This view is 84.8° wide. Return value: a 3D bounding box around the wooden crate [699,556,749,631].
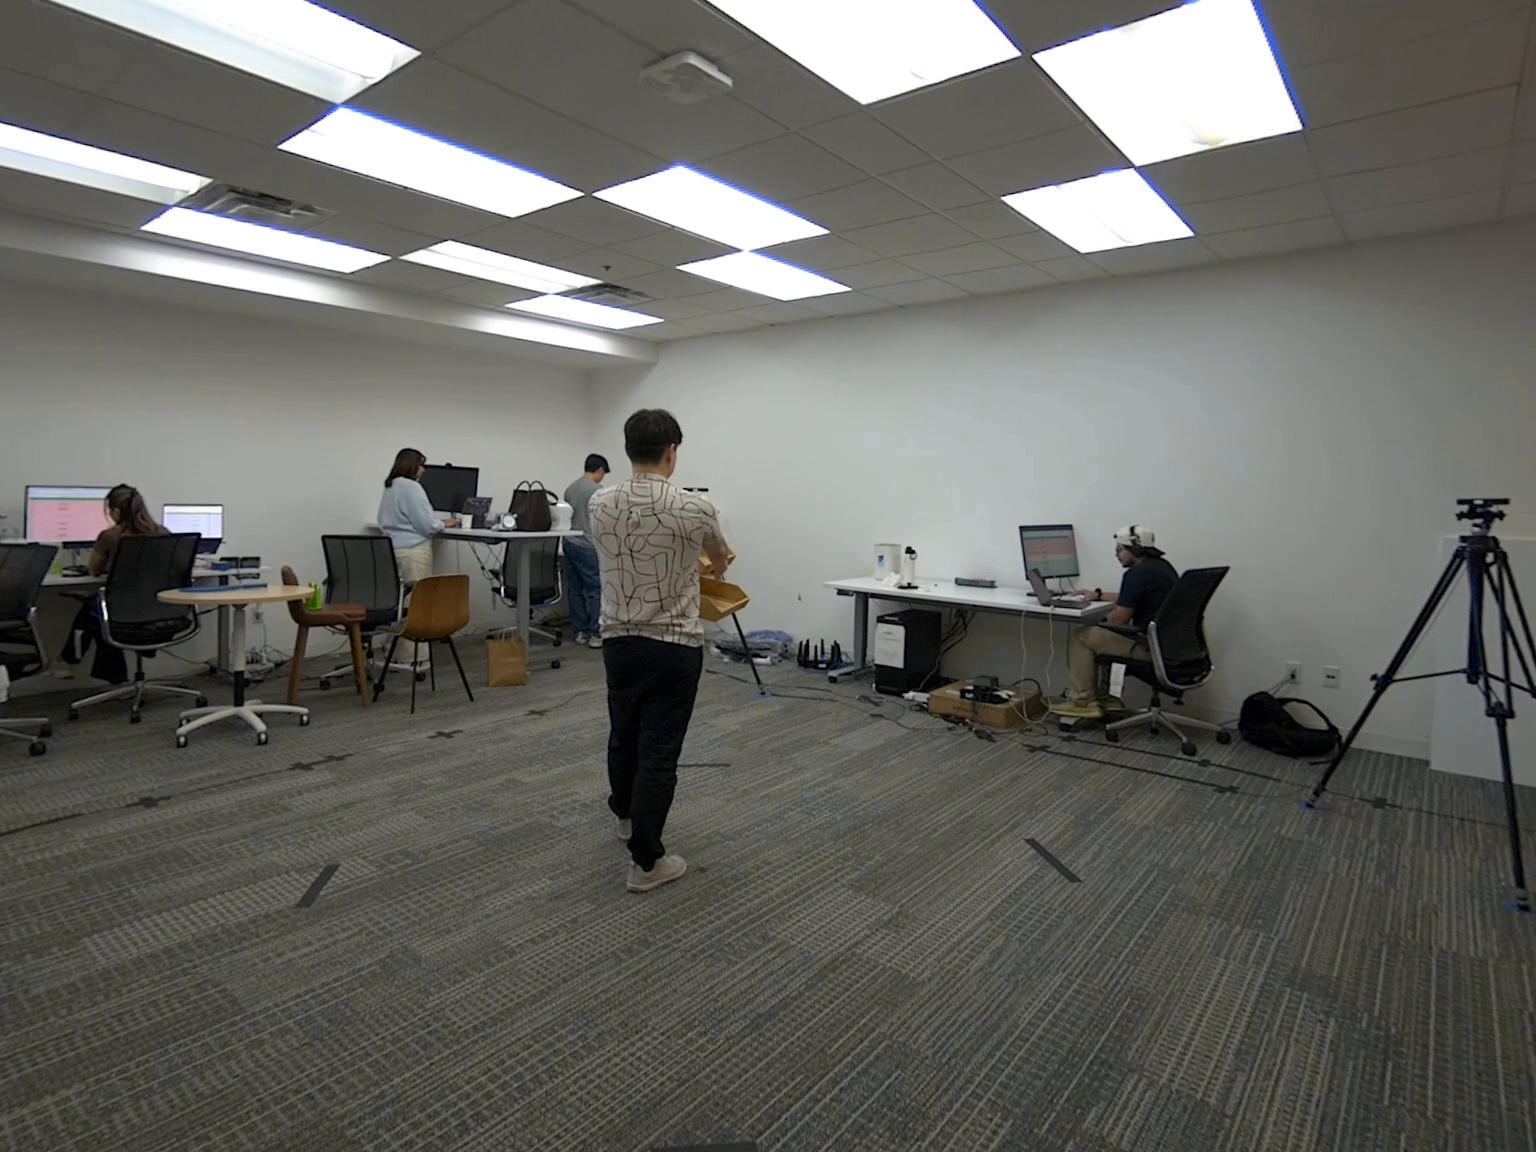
[{"bbox_3d":[-0.259,-0.003,3.531,0.310,0.271,0.319,12,13,21],"label":"wooden crate"}]
